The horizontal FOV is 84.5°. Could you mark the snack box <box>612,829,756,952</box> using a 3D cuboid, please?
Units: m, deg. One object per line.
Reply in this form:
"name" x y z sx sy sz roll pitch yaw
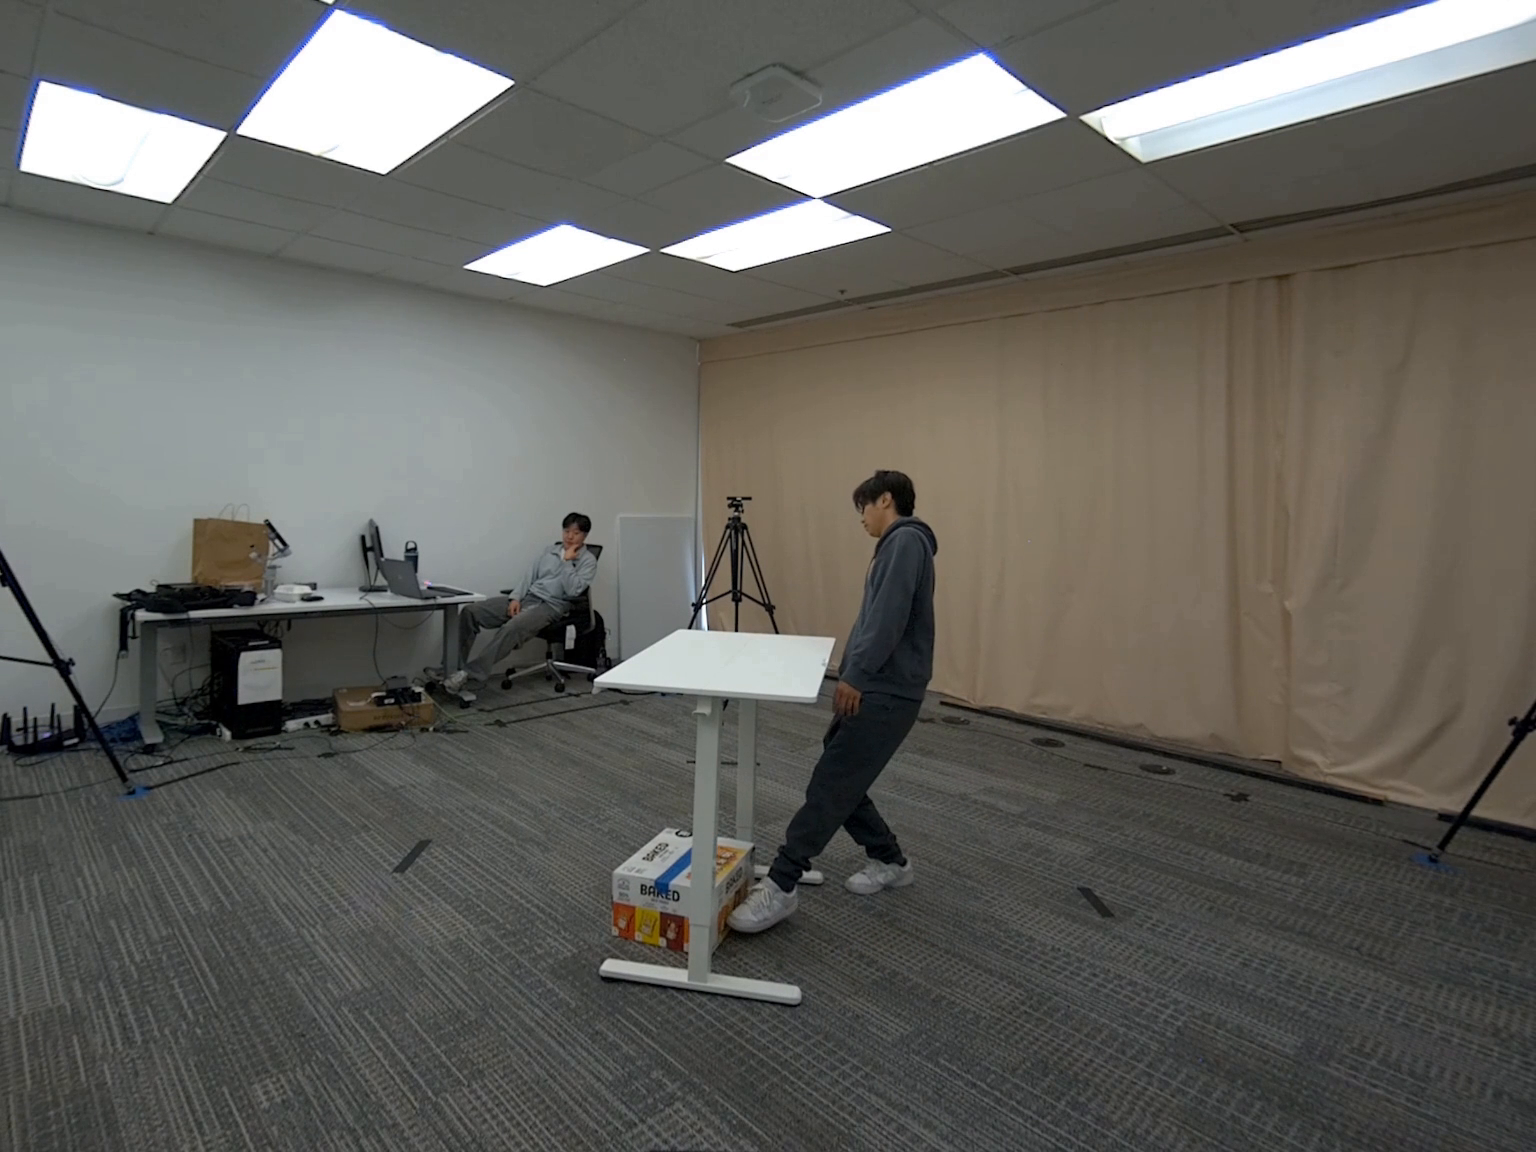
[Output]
"snack box" -0.276 1.030 2.781 0.346 0.205 0.400 3 5 20
